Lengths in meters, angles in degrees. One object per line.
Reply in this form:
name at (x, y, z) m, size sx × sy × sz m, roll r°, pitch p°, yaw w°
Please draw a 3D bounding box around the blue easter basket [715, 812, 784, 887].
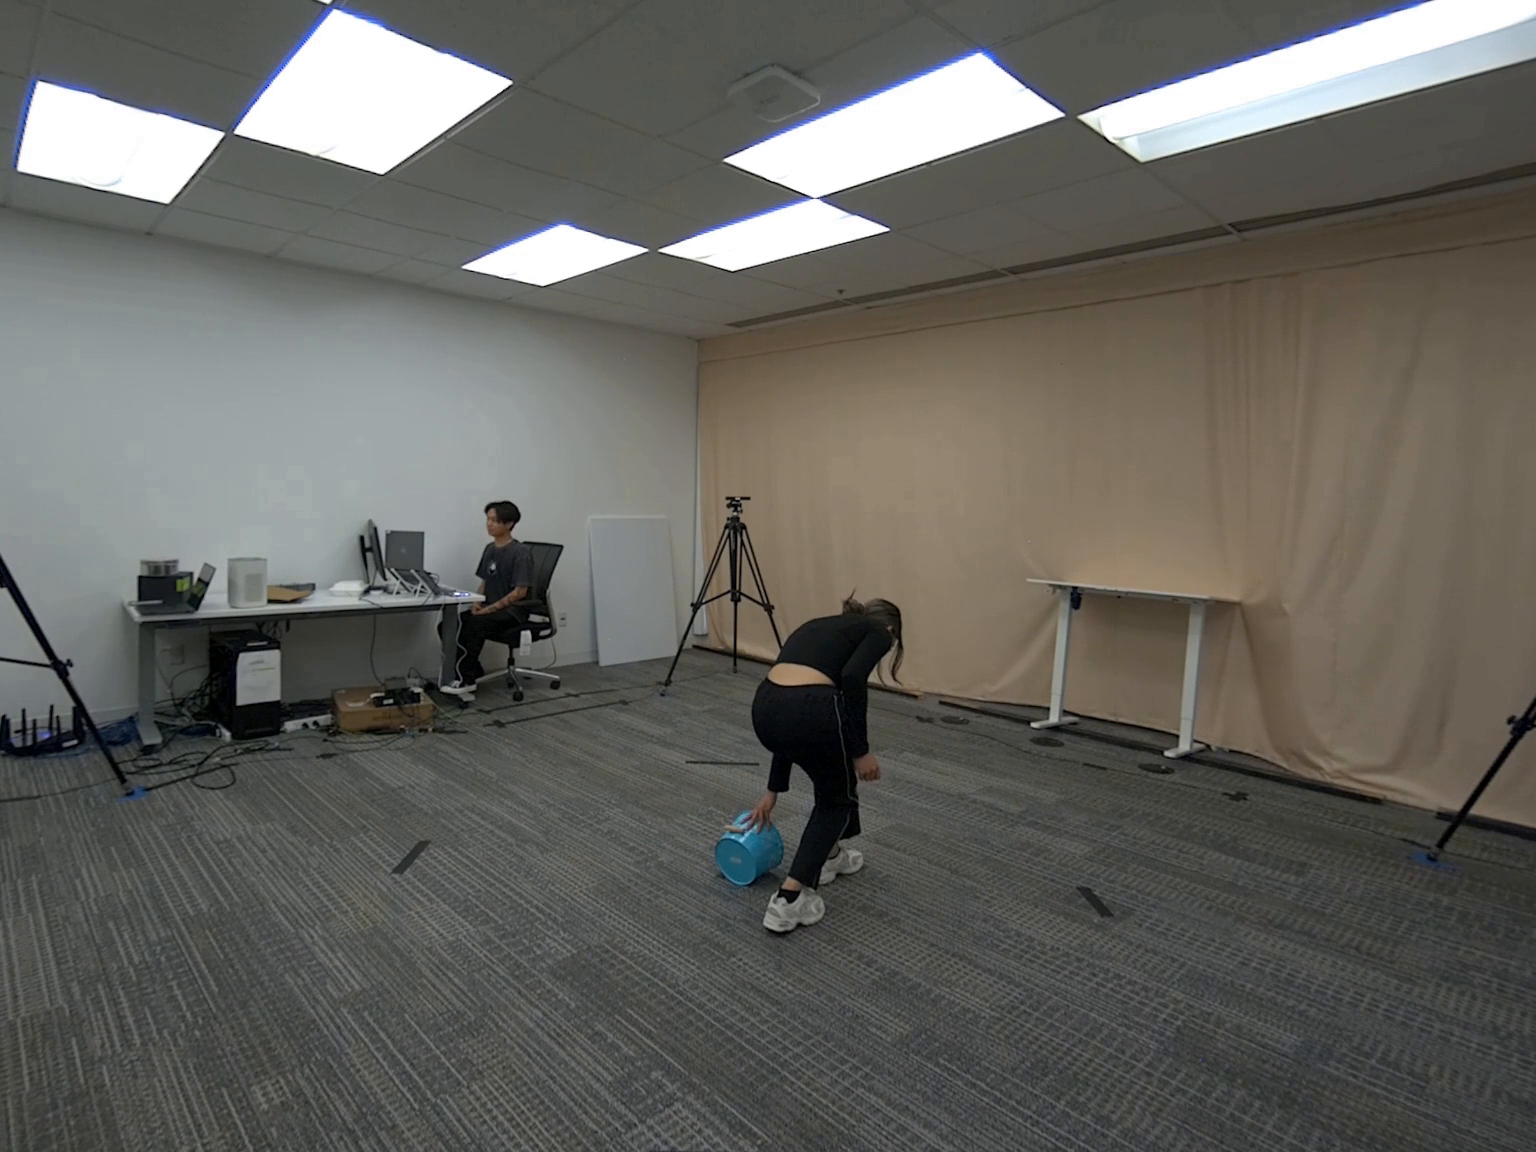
blue easter basket at (-0.091, 0.997, 3.090) m, size 0.249 × 0.241 × 0.154 m, roll 4°, pitch 15°, yaw 35°
